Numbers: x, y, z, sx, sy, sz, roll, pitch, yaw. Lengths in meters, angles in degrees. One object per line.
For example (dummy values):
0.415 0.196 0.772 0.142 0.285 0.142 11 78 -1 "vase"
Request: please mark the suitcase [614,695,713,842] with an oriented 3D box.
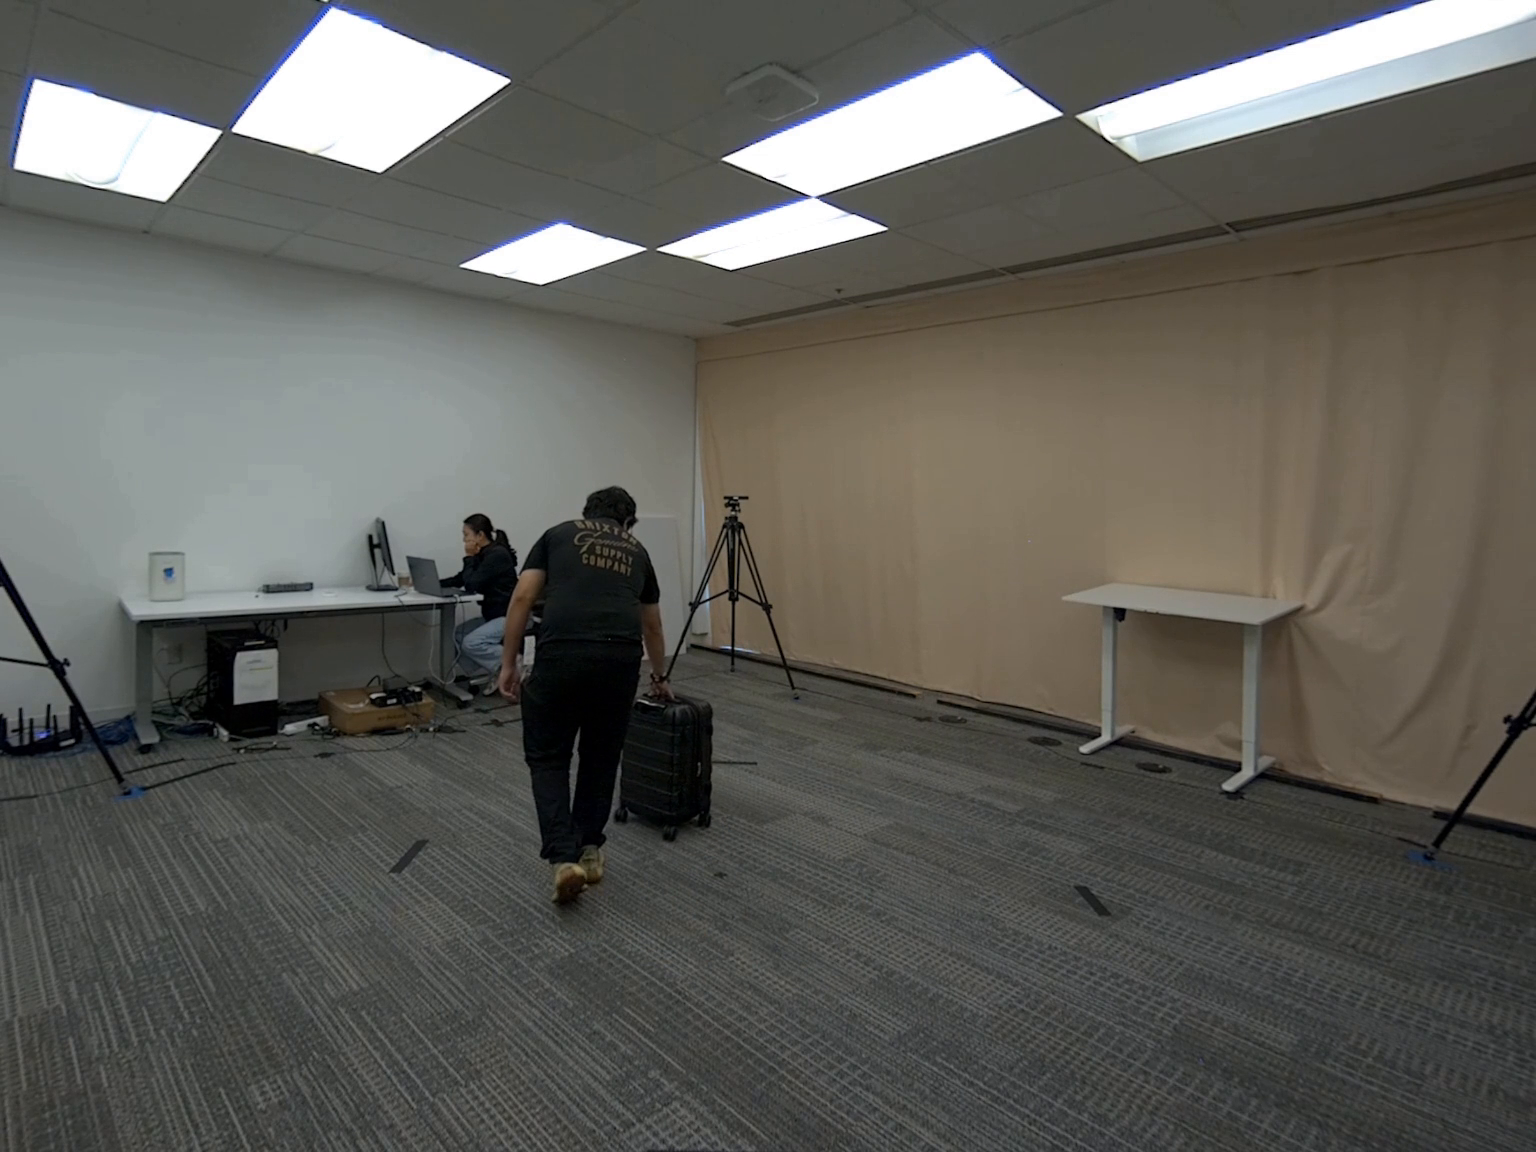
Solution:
-0.436 0.783 3.589 0.385 0.549 0.242 5 2 39 "suitcase"
